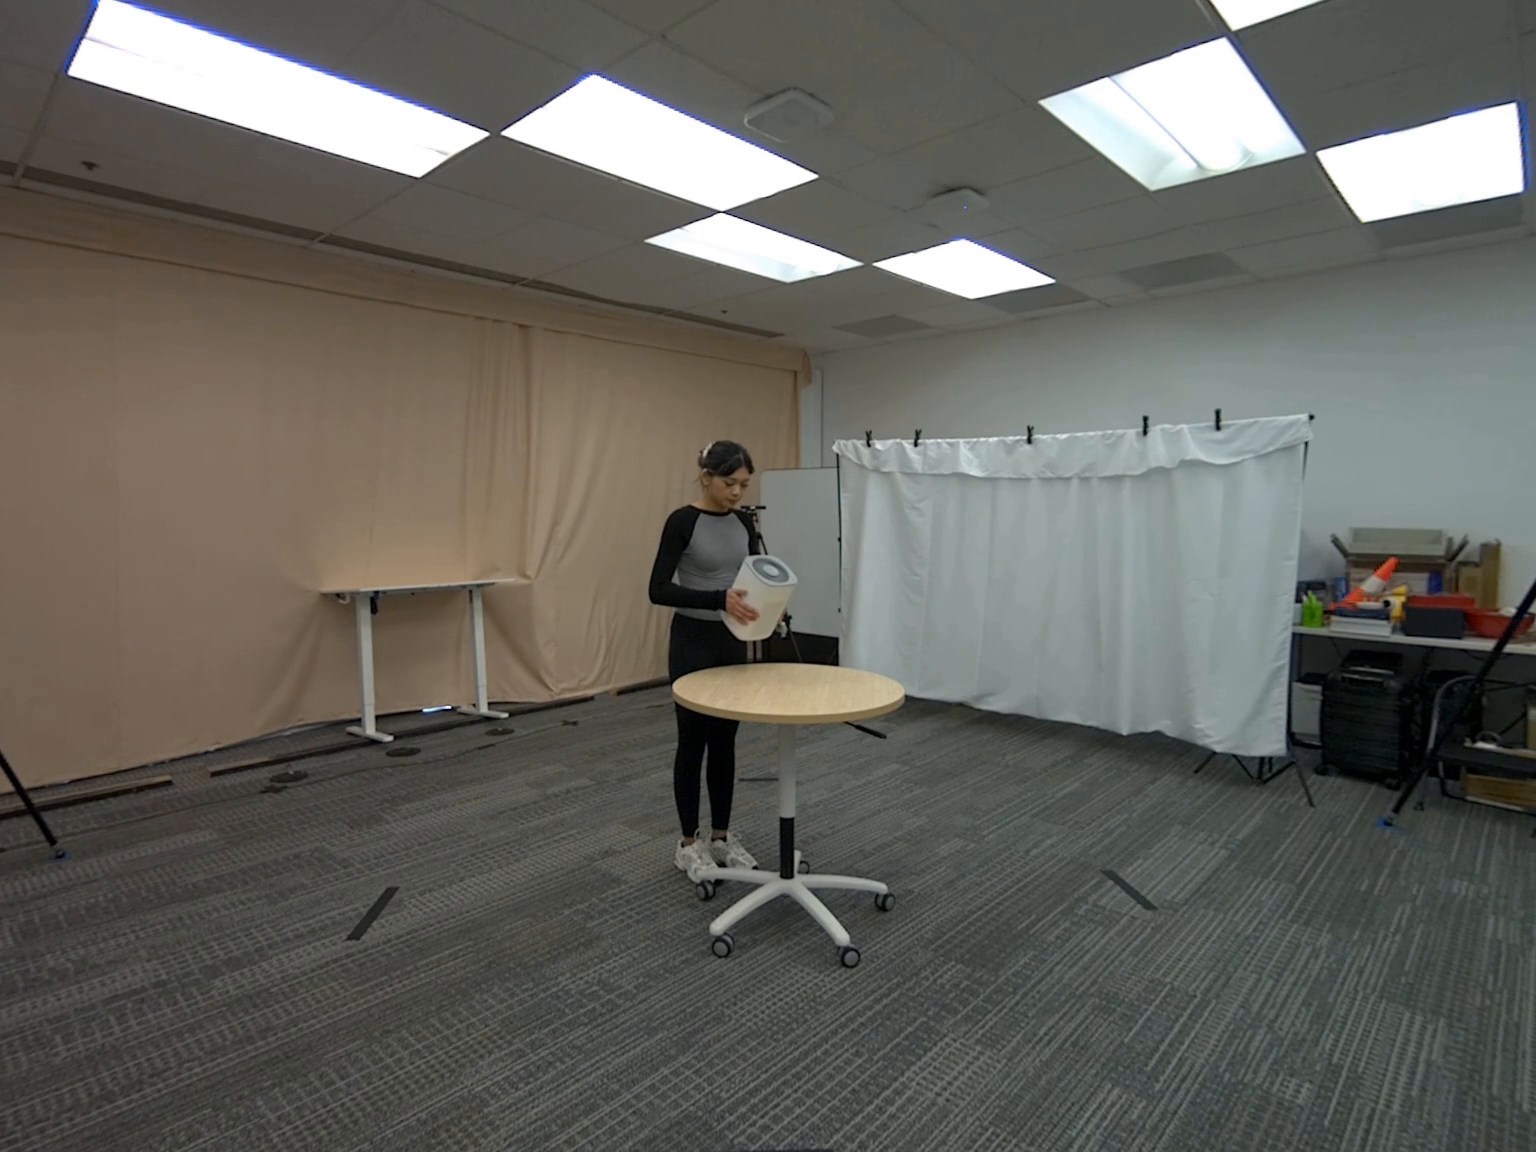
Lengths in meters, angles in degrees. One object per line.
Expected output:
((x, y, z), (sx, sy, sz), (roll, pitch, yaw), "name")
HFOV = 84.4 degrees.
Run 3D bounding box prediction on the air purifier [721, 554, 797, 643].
((-0.033, 0.084, 2.988), (0.166, 0.264, 0.177), (-3, 38, -40), "air purifier")
